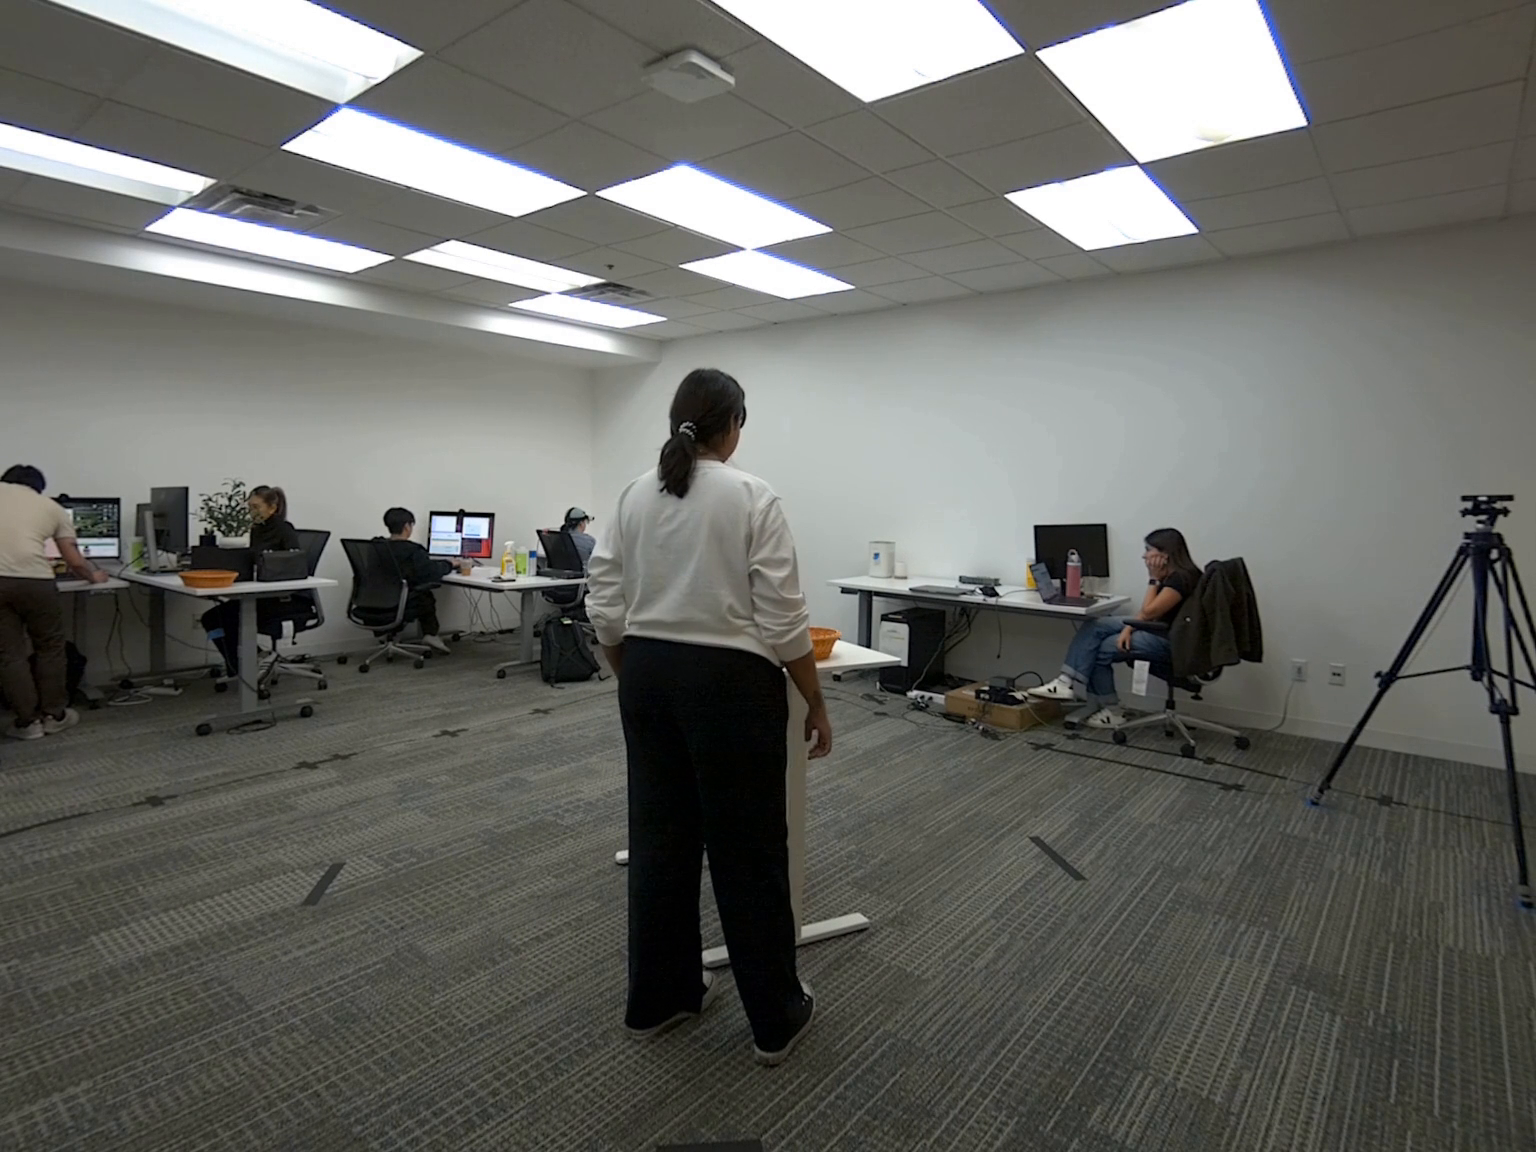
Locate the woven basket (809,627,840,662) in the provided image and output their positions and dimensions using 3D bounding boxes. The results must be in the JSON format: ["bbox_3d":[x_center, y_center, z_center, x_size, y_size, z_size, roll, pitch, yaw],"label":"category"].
[{"bbox_3d":[0.070,0.215,2.561,0.343,0.073,0.258,-2,4,-21],"label":"woven basket"}]
